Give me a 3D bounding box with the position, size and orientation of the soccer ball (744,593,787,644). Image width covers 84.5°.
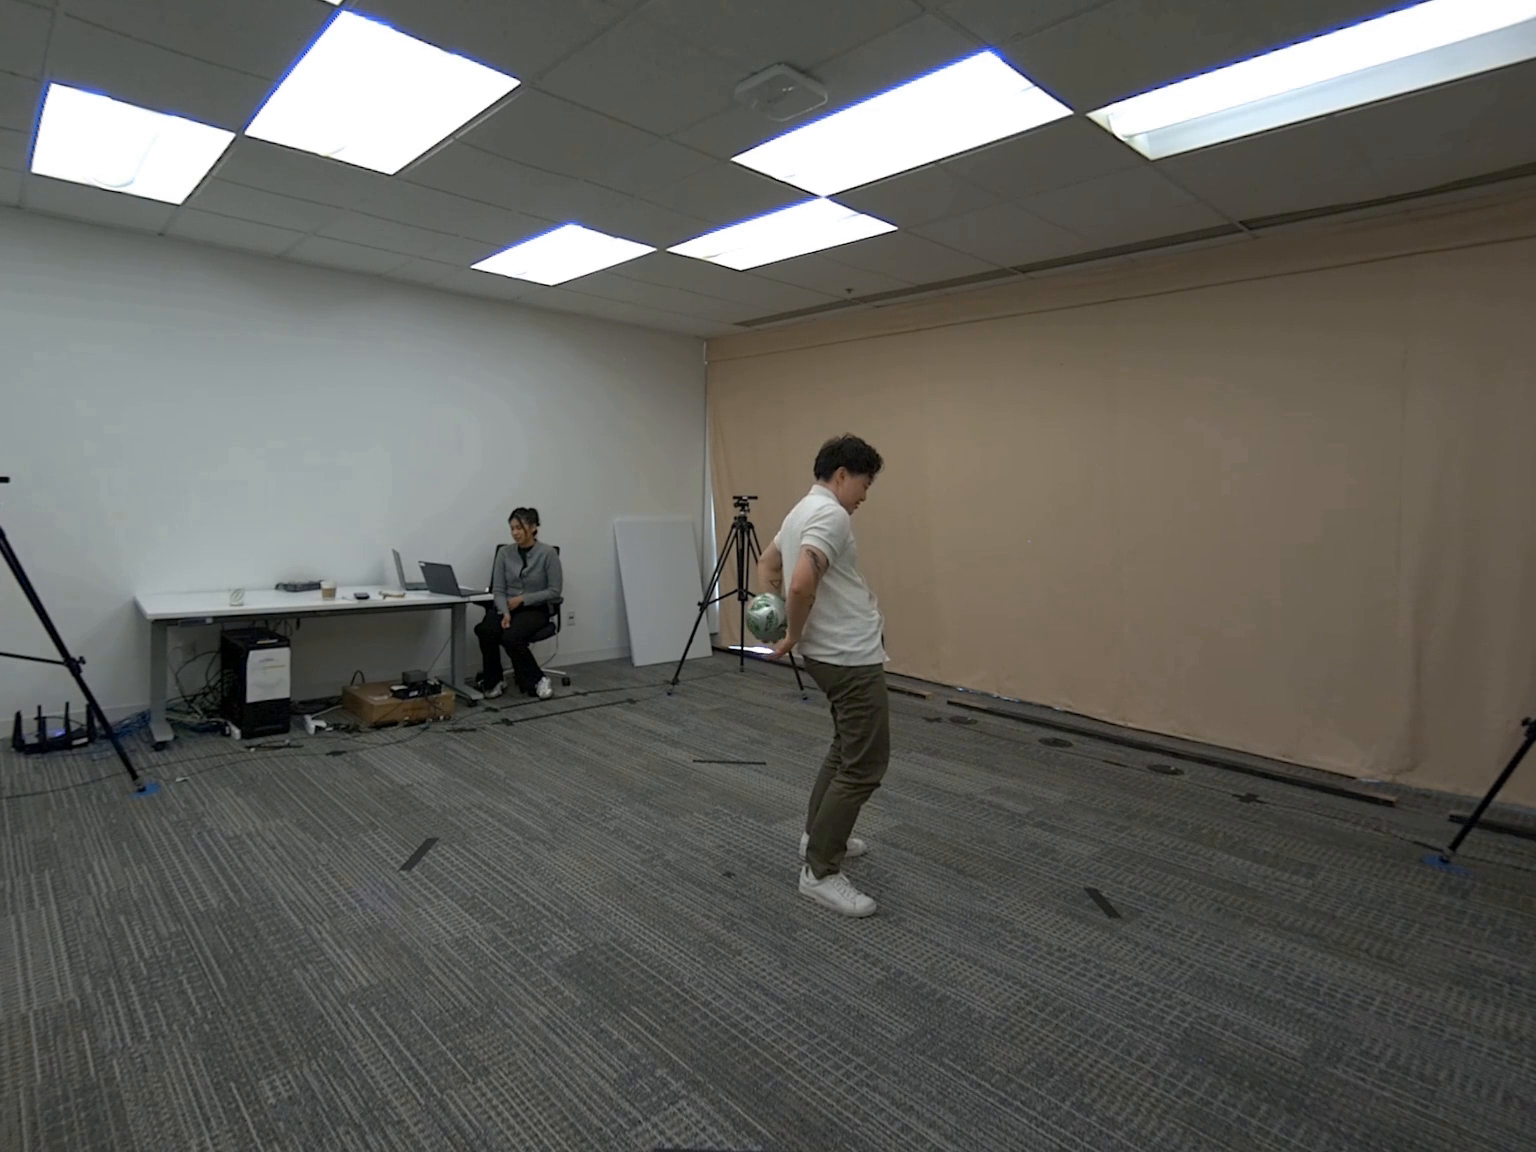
[{"bbox_3d":[-0.001,0.154,3.199,0.187,0.187,0.188,1,4,-1],"label":"soccer ball"}]
